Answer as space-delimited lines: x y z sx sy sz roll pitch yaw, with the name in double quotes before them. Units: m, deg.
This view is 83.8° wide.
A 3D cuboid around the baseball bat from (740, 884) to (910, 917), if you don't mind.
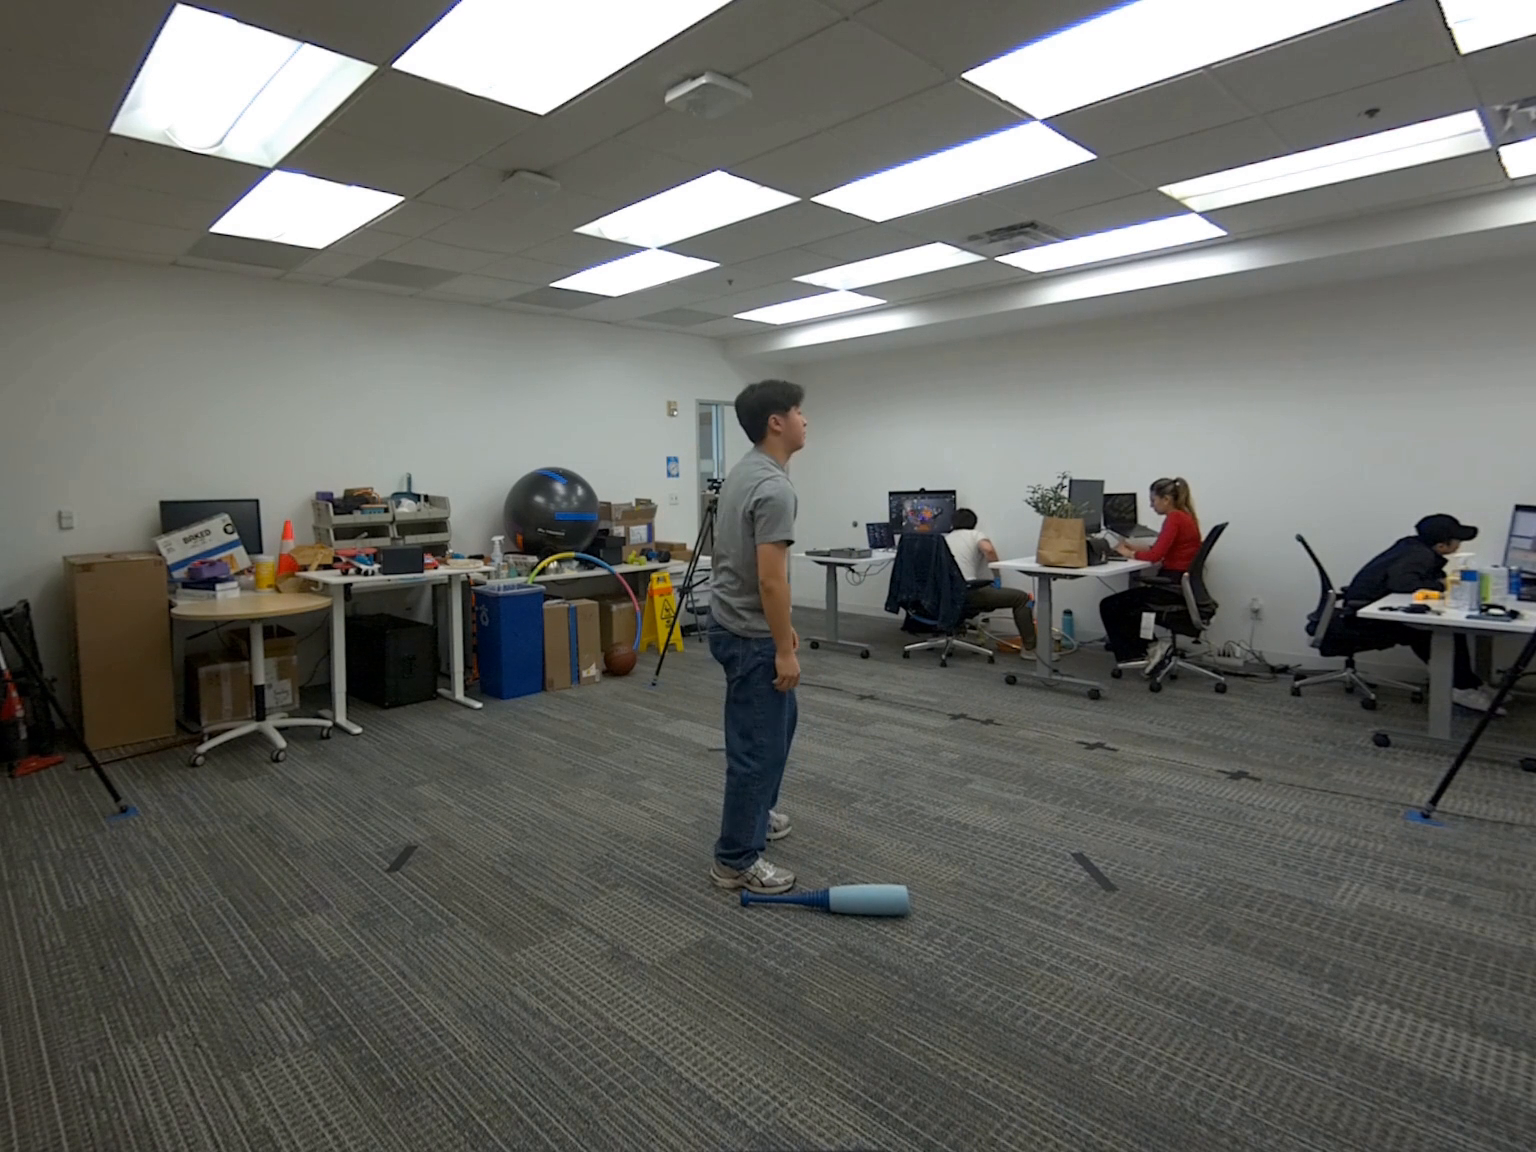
"baseball bat" 0.187 1.047 2.753 0.547 0.089 0.088 -4 4 9
